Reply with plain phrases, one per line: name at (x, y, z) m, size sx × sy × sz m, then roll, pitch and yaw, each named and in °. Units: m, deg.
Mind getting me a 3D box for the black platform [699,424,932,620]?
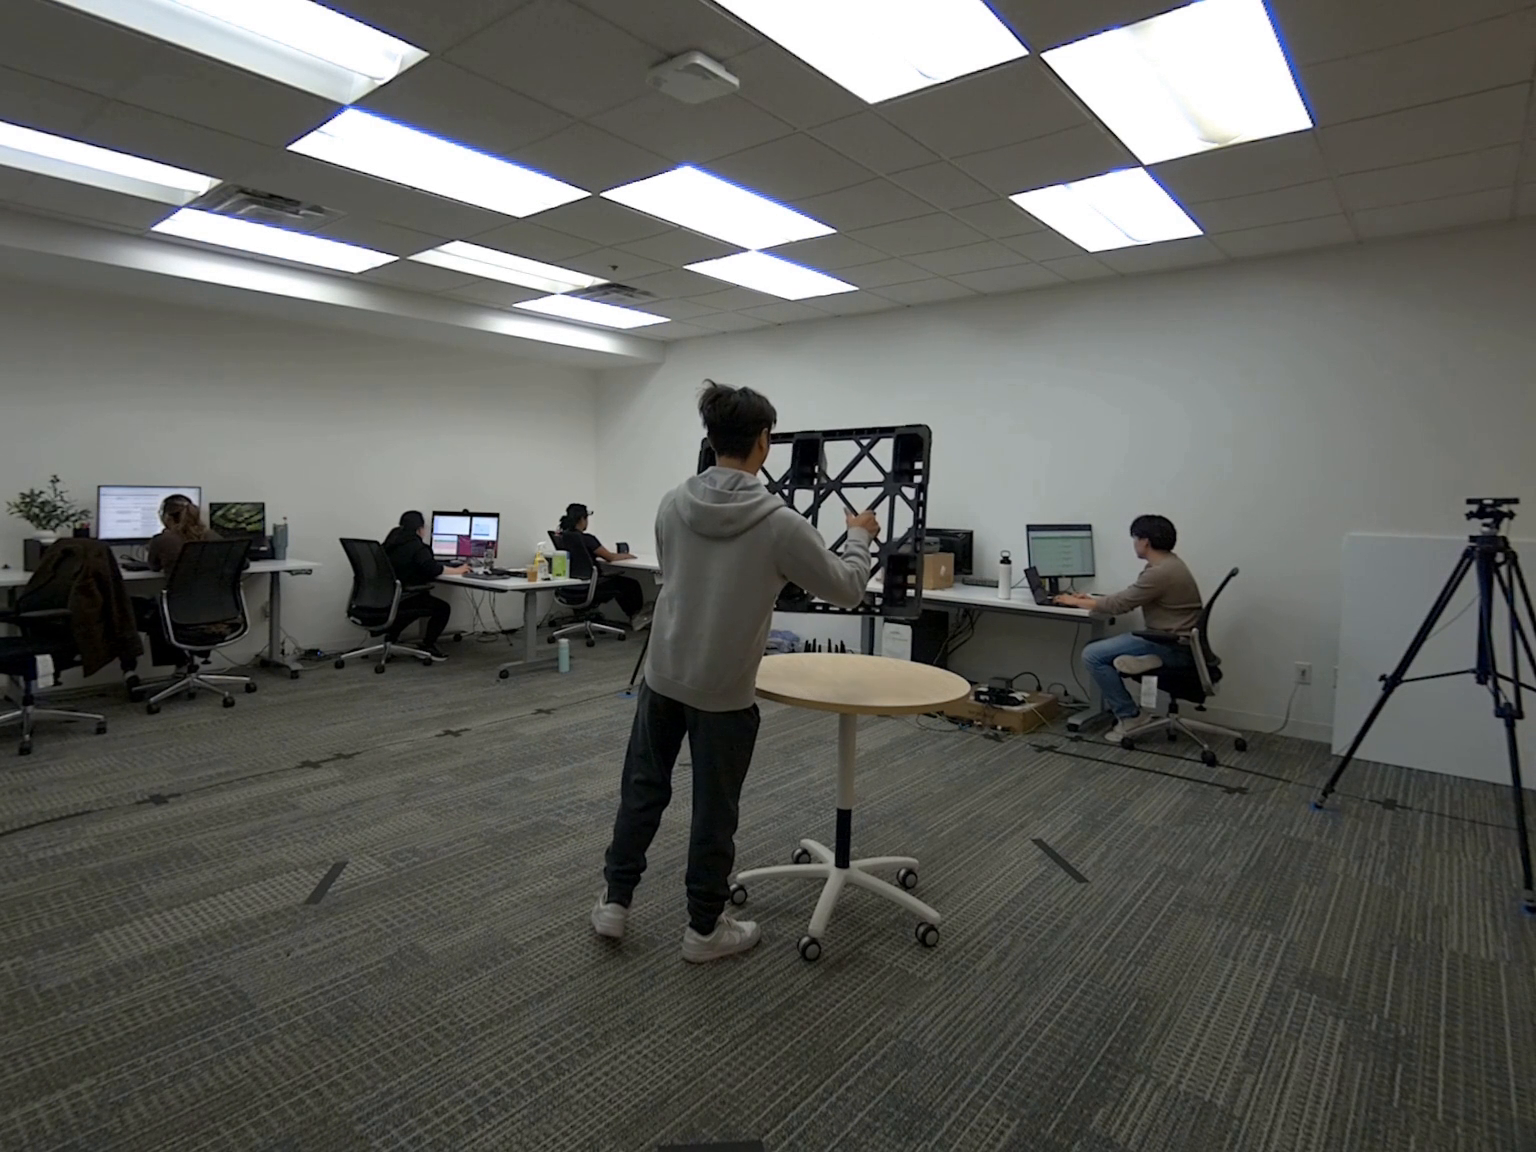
black platform at (0.119, -0.167, 2.778) m, size 0.827 × 0.611 × 0.138 m, roll 1°, pitch -11°, yaw 27°
